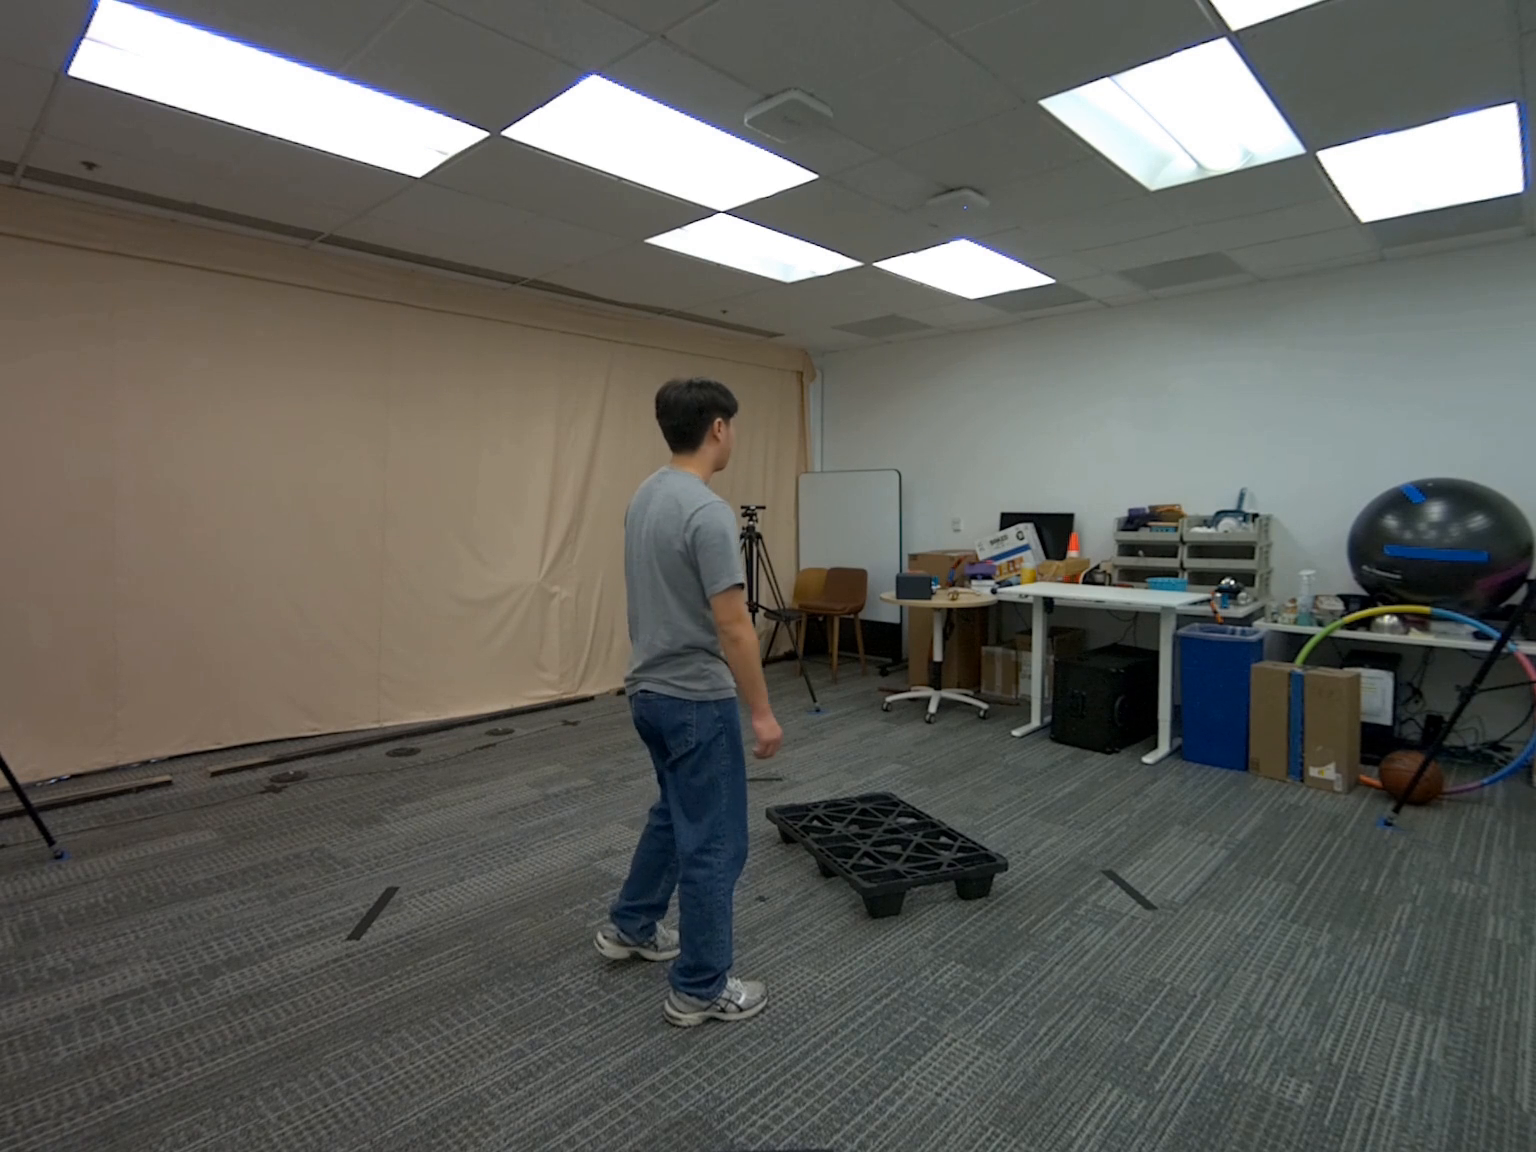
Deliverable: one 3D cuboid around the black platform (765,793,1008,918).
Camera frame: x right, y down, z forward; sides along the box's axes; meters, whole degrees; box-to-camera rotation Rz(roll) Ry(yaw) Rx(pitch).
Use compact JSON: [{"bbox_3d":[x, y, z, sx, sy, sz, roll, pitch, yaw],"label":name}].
[{"bbox_3d":[0.422,1.053,3.239,0.592,0.143,0.825,-2,5,-23],"label":"black platform"}]
